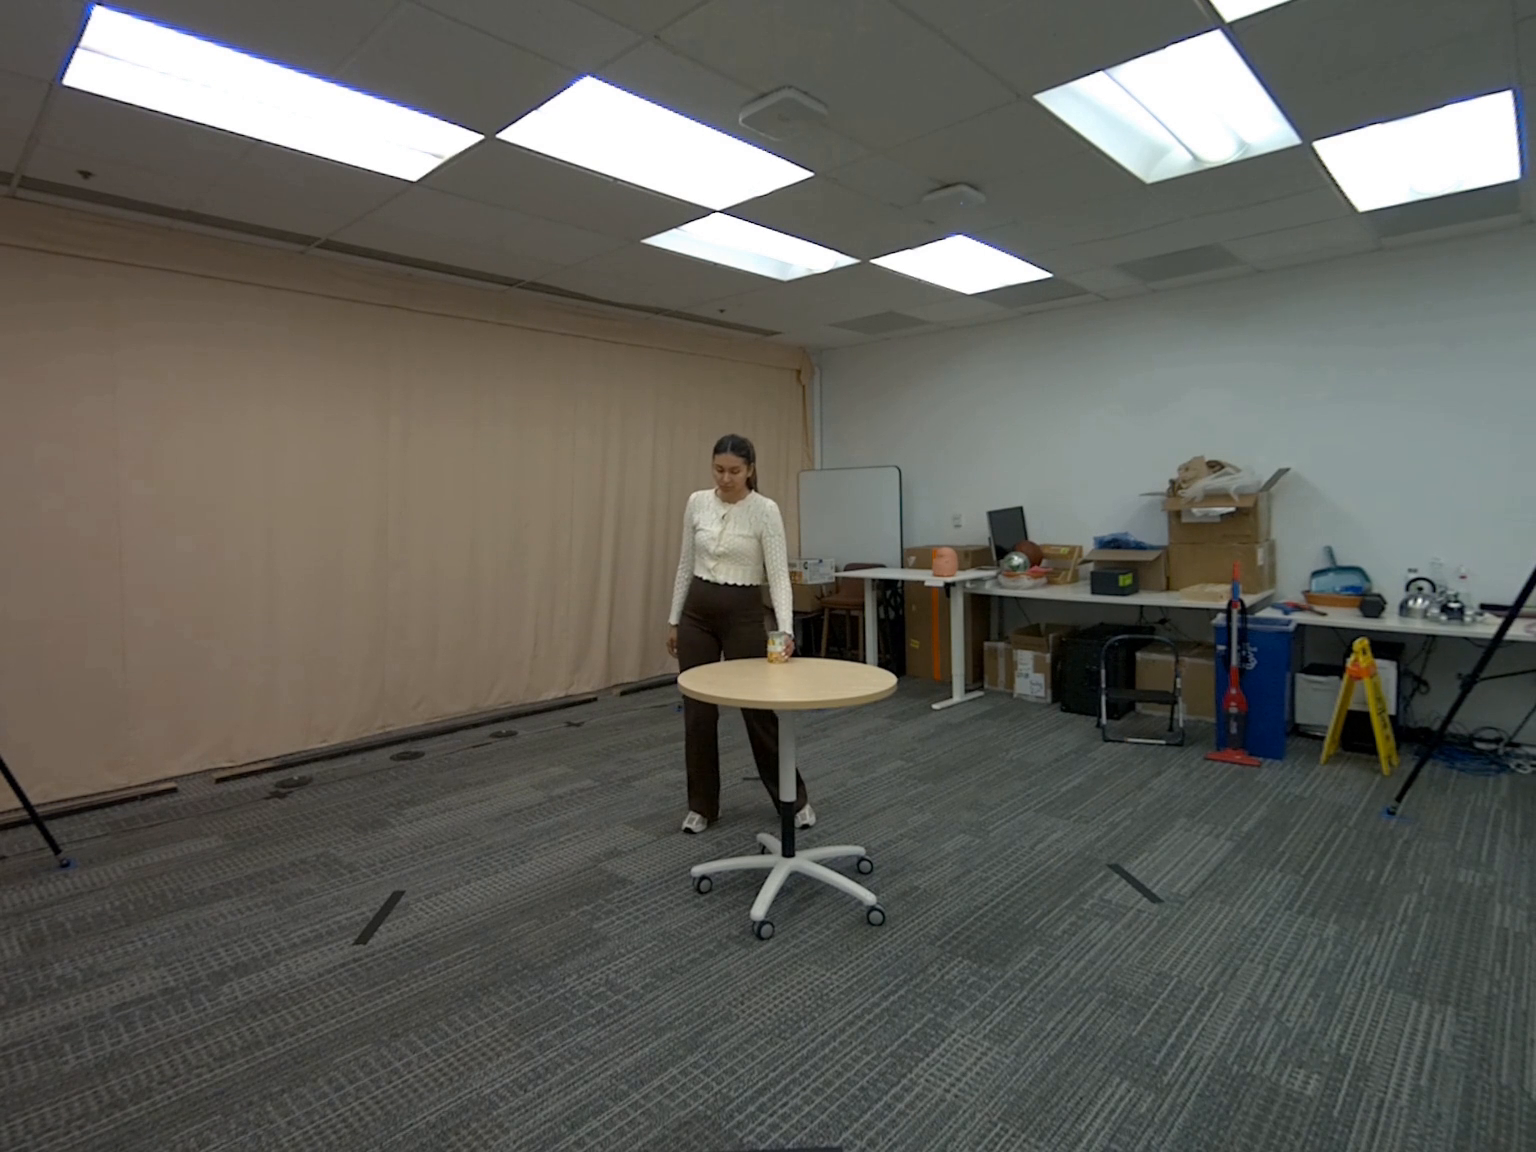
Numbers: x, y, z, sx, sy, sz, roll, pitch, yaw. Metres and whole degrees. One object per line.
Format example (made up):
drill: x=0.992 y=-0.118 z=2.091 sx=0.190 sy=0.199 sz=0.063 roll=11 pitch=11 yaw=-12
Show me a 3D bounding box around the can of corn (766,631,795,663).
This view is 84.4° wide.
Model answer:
can of corn: x=0.038 y=0.280 z=3.267 sx=0.074 sy=0.111 sz=0.074 roll=1 pitch=1 yaw=-2
